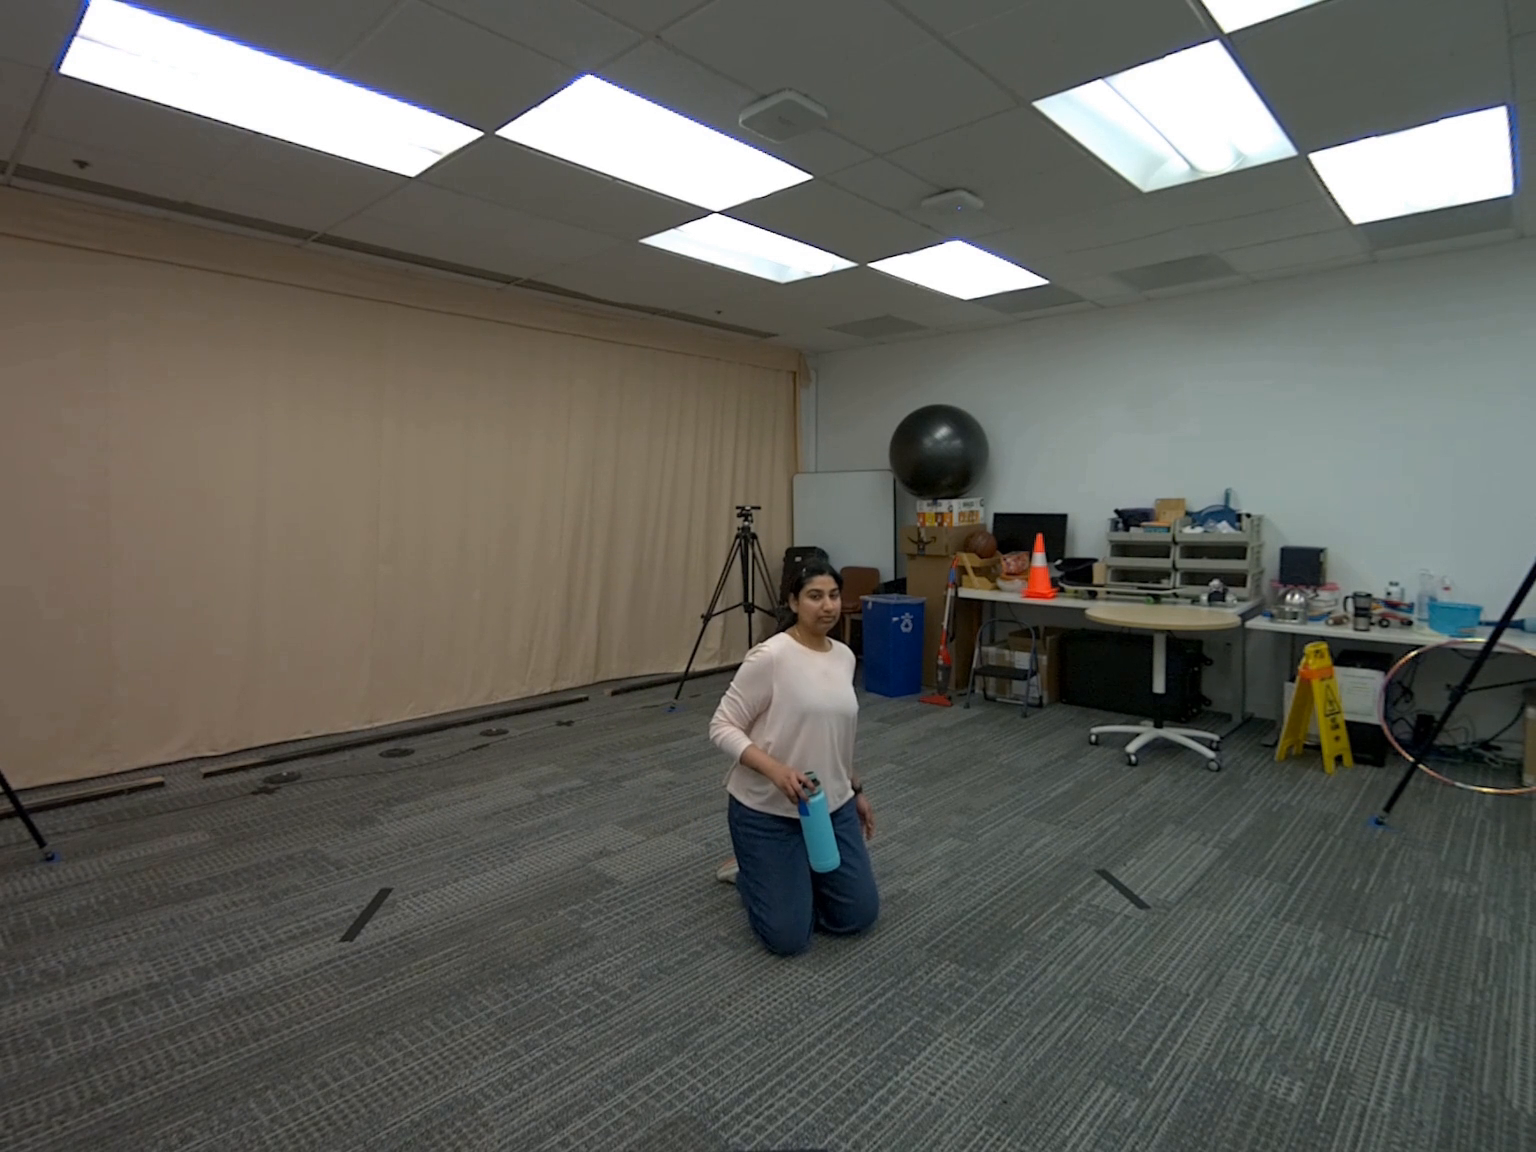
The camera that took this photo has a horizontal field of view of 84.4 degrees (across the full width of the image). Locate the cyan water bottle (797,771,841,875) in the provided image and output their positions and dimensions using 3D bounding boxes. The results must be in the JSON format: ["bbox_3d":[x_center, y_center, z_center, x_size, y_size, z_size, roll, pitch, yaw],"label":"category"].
[{"bbox_3d":[0.145,0.722,2.492,0.092,0.282,0.093,-12,7,0],"label":"cyan water bottle"}]
